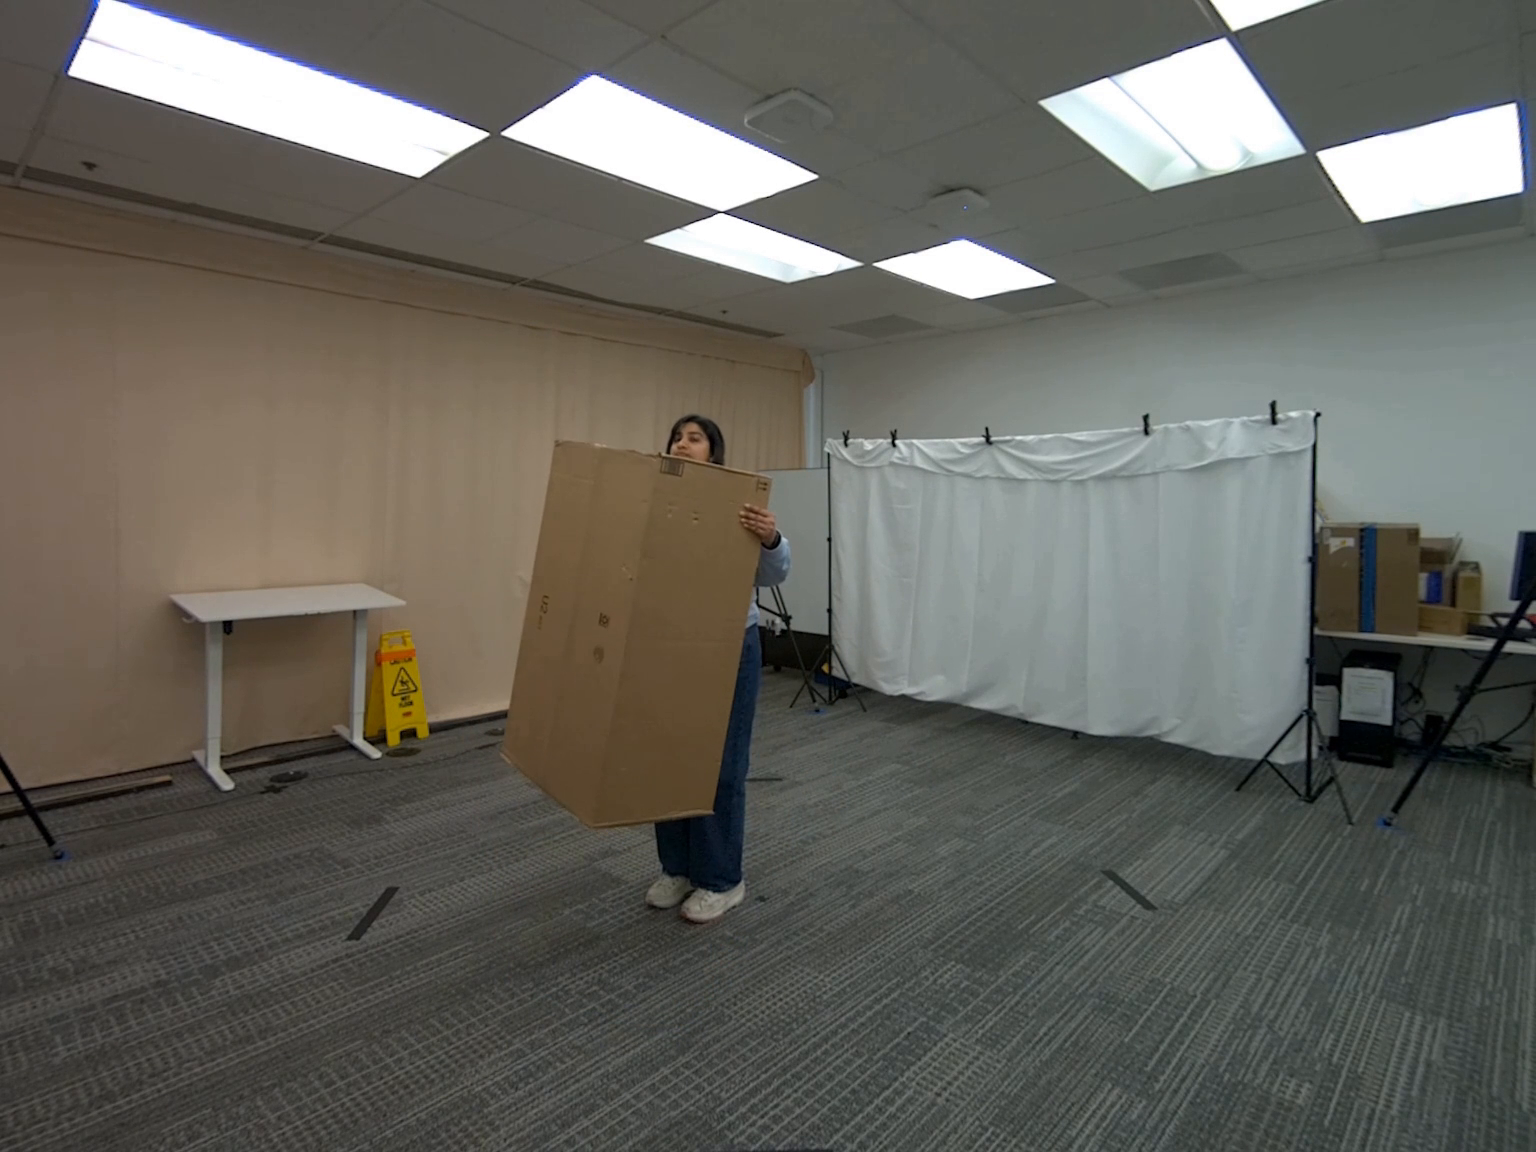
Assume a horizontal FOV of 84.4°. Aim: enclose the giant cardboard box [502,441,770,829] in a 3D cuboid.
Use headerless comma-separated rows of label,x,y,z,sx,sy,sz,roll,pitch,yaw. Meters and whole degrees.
giant cardboard box,-0.413,0.149,2.567,0.432,1.025,0.605,8,4,-41
